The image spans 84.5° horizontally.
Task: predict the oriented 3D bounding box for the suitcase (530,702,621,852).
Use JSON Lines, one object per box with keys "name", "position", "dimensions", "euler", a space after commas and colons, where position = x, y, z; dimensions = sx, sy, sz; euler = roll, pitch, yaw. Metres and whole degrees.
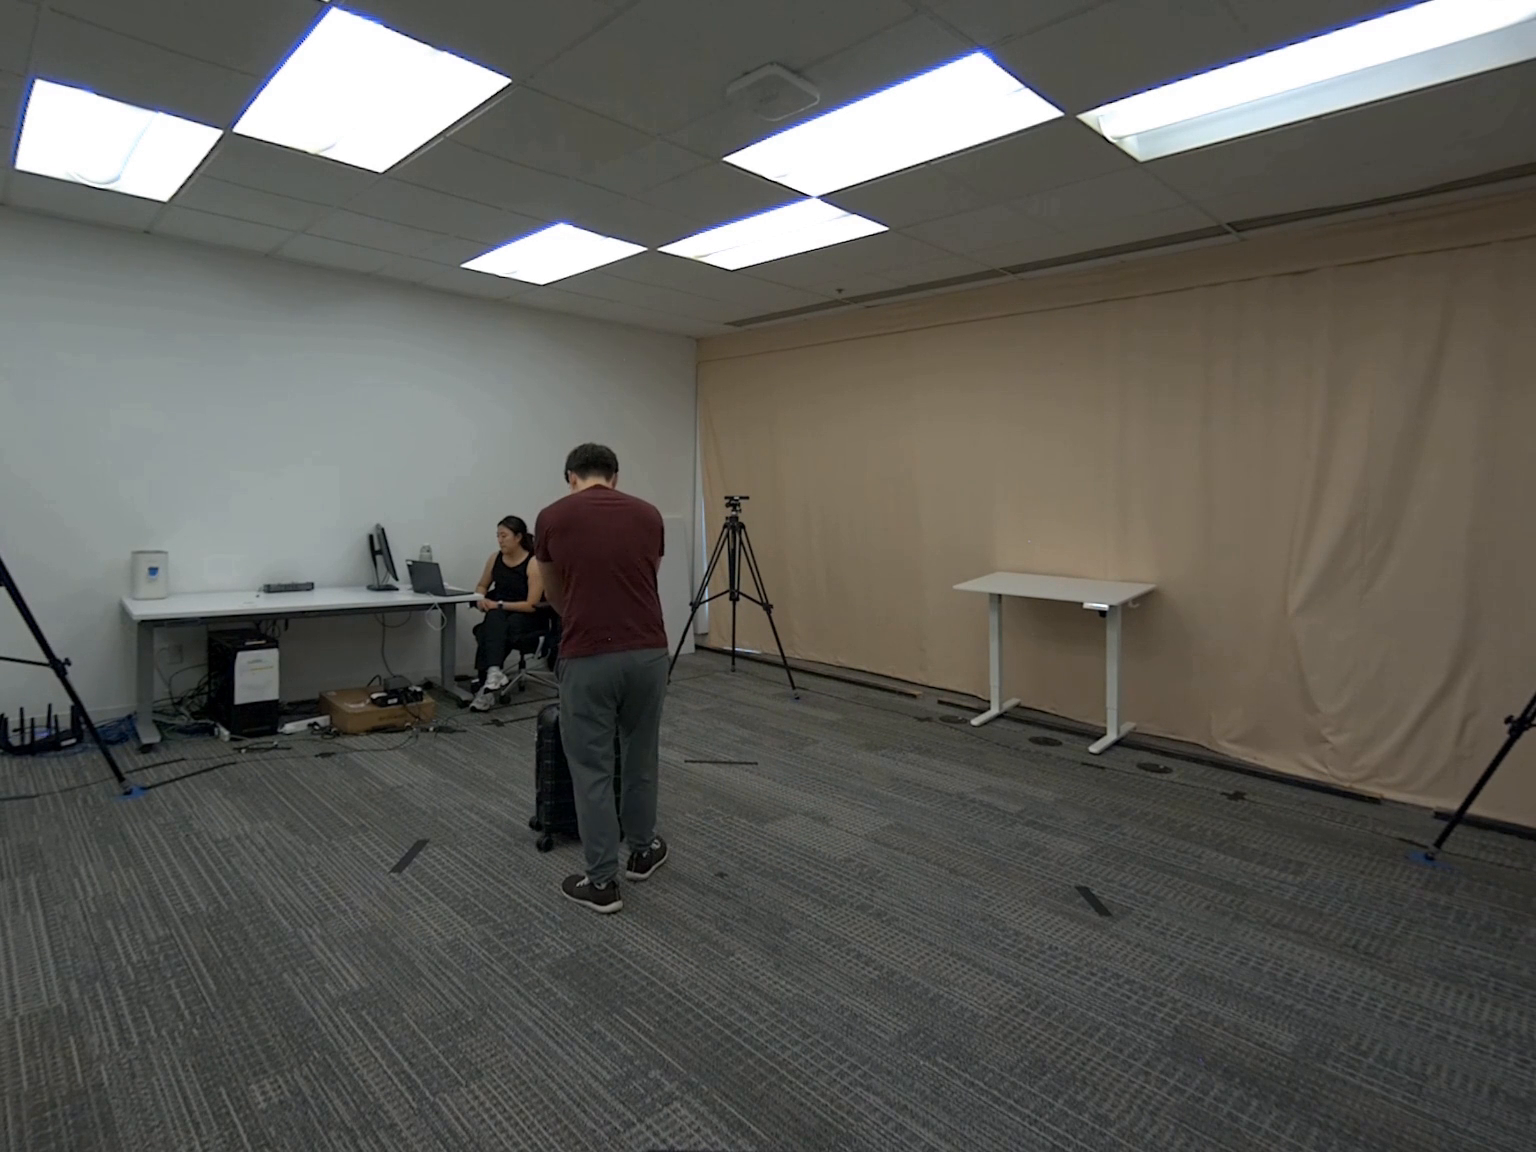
{"name": "suitcase", "position": [-0.774, 0.586, 3.446], "dimensions": [0.378, 0.979, 0.260], "euler": [2, -1, -19]}
